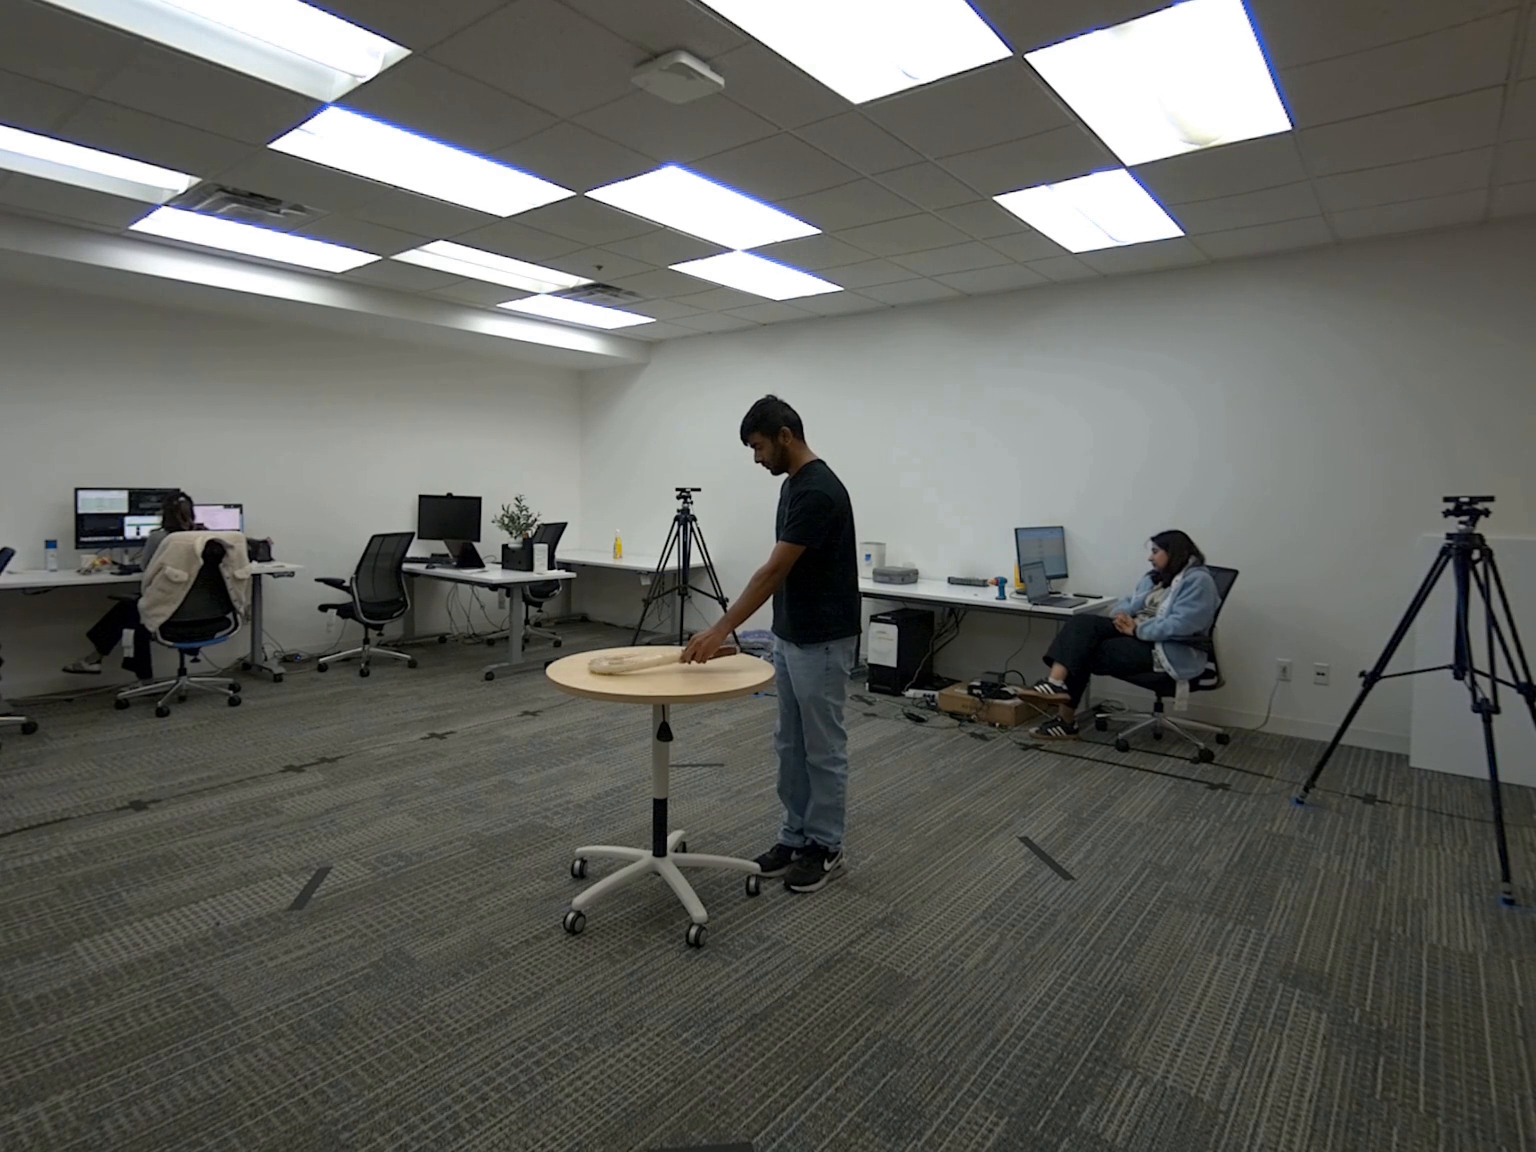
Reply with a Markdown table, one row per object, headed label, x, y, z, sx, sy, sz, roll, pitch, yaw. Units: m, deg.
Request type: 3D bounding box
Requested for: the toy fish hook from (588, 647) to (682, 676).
| label | x | y | z | sx | sy | sz | roll | pitch | yaw |
| --- | --- | --- | --- | --- | --- | --- | --- | --- | --- |
| toy fish hook | -0.361 | 0.270 | 2.880 | 0.500 | 0.048 | 0.229 | -6 | 9 | -14 |
